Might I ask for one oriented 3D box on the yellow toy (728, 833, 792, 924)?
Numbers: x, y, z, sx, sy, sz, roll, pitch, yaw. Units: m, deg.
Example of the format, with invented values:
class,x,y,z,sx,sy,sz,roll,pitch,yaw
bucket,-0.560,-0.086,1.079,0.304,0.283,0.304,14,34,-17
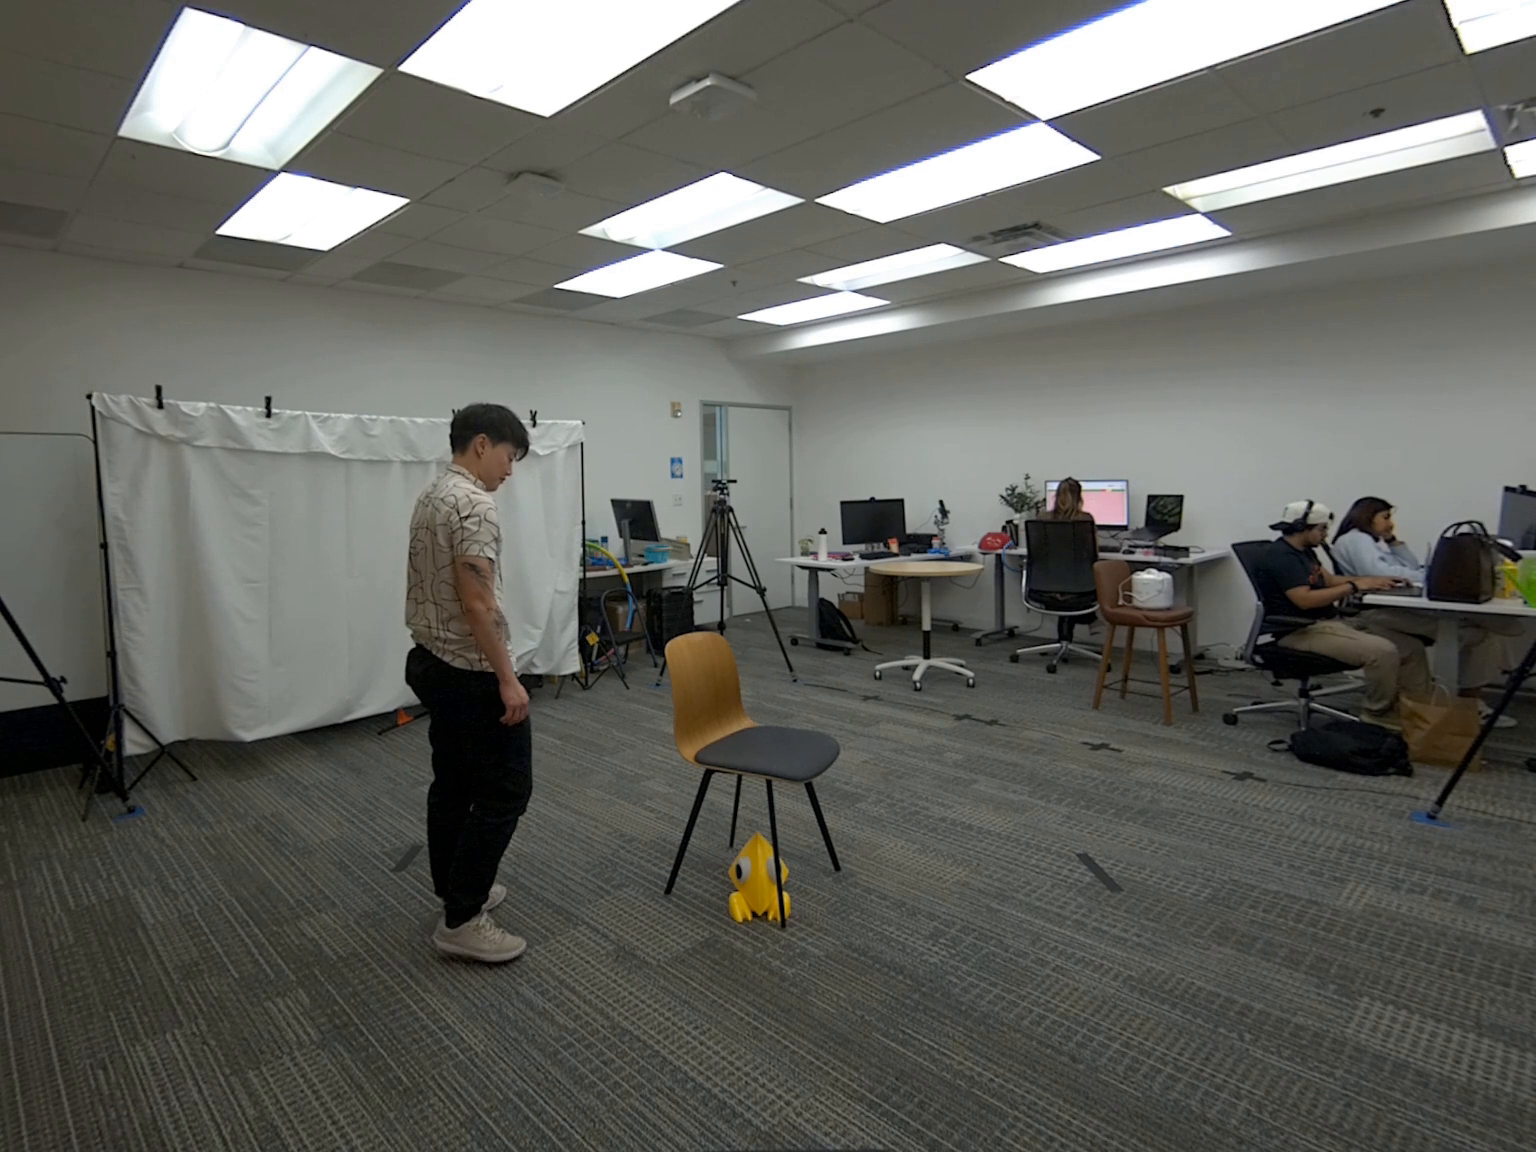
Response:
class,x,y,z,sx,sy,sz,roll,pitch,yaw
yellow toy,-0.027,0.969,2.778,0.205,0.230,0.193,-1,3,0
